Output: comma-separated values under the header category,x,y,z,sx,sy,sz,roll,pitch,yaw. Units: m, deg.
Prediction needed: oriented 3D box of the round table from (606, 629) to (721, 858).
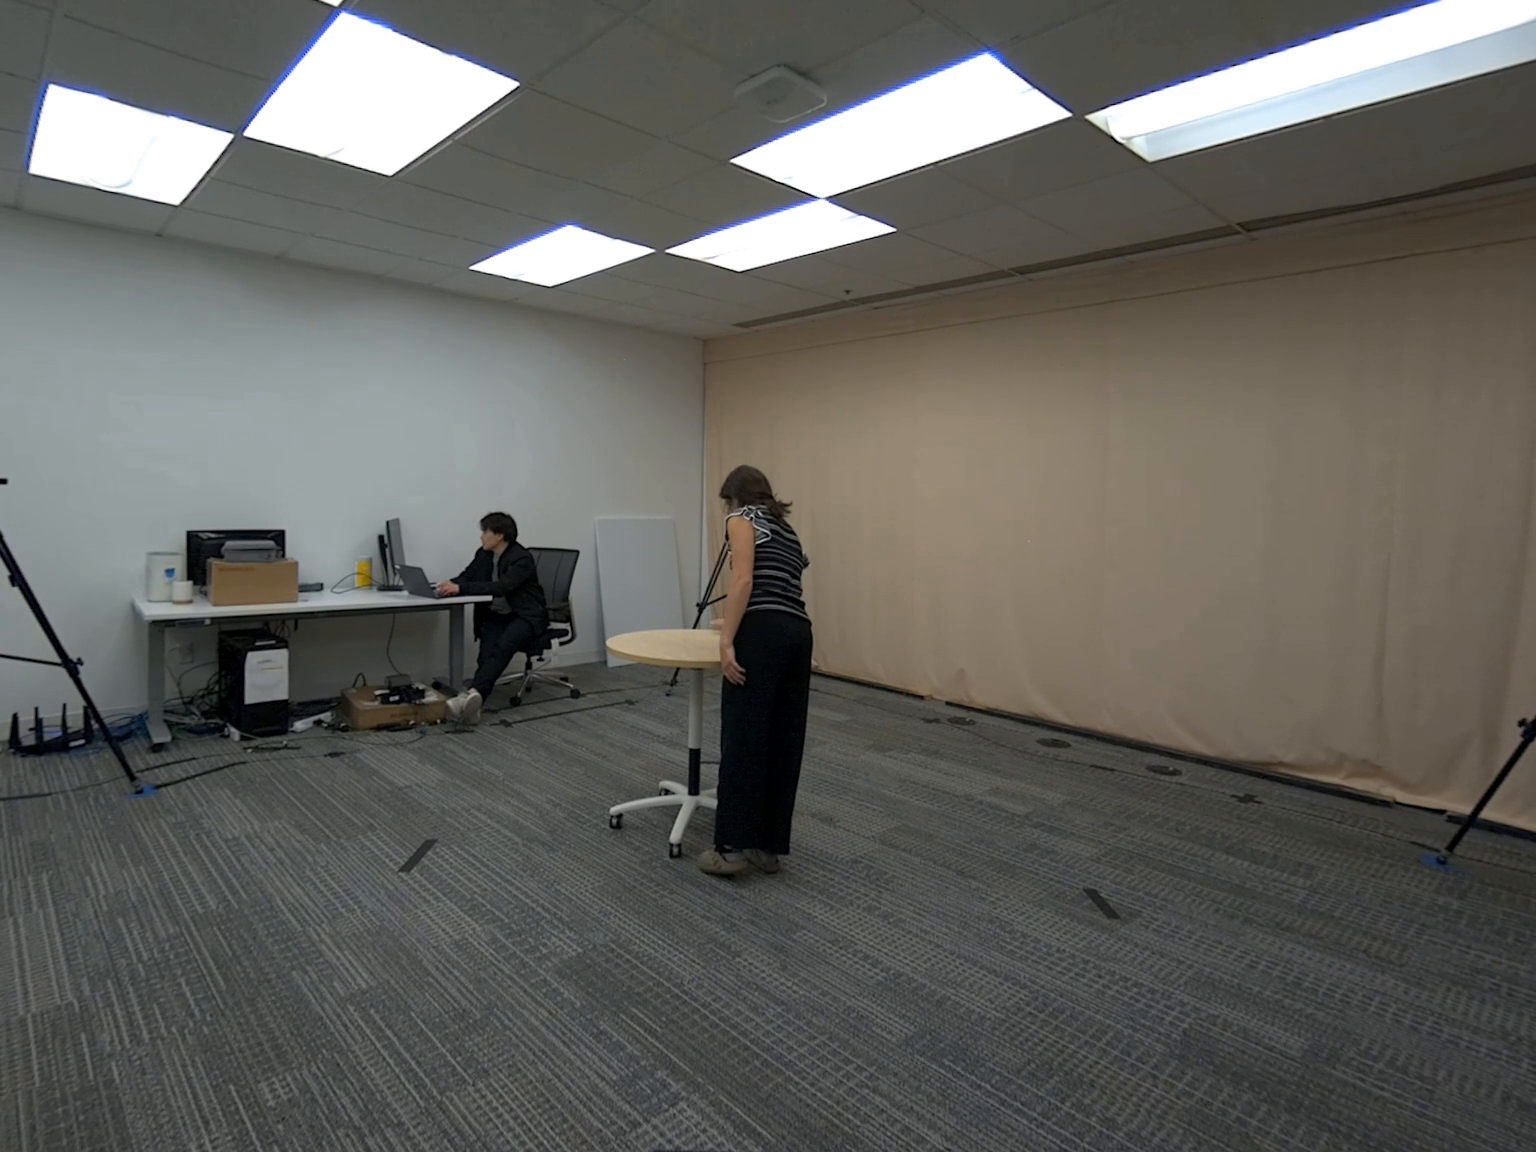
category,x,y,z,sx,sy,sz,roll,pitch,yaw
round table,-0.319,0.677,3.549,0.763,0.792,0.766,2,4,-1
